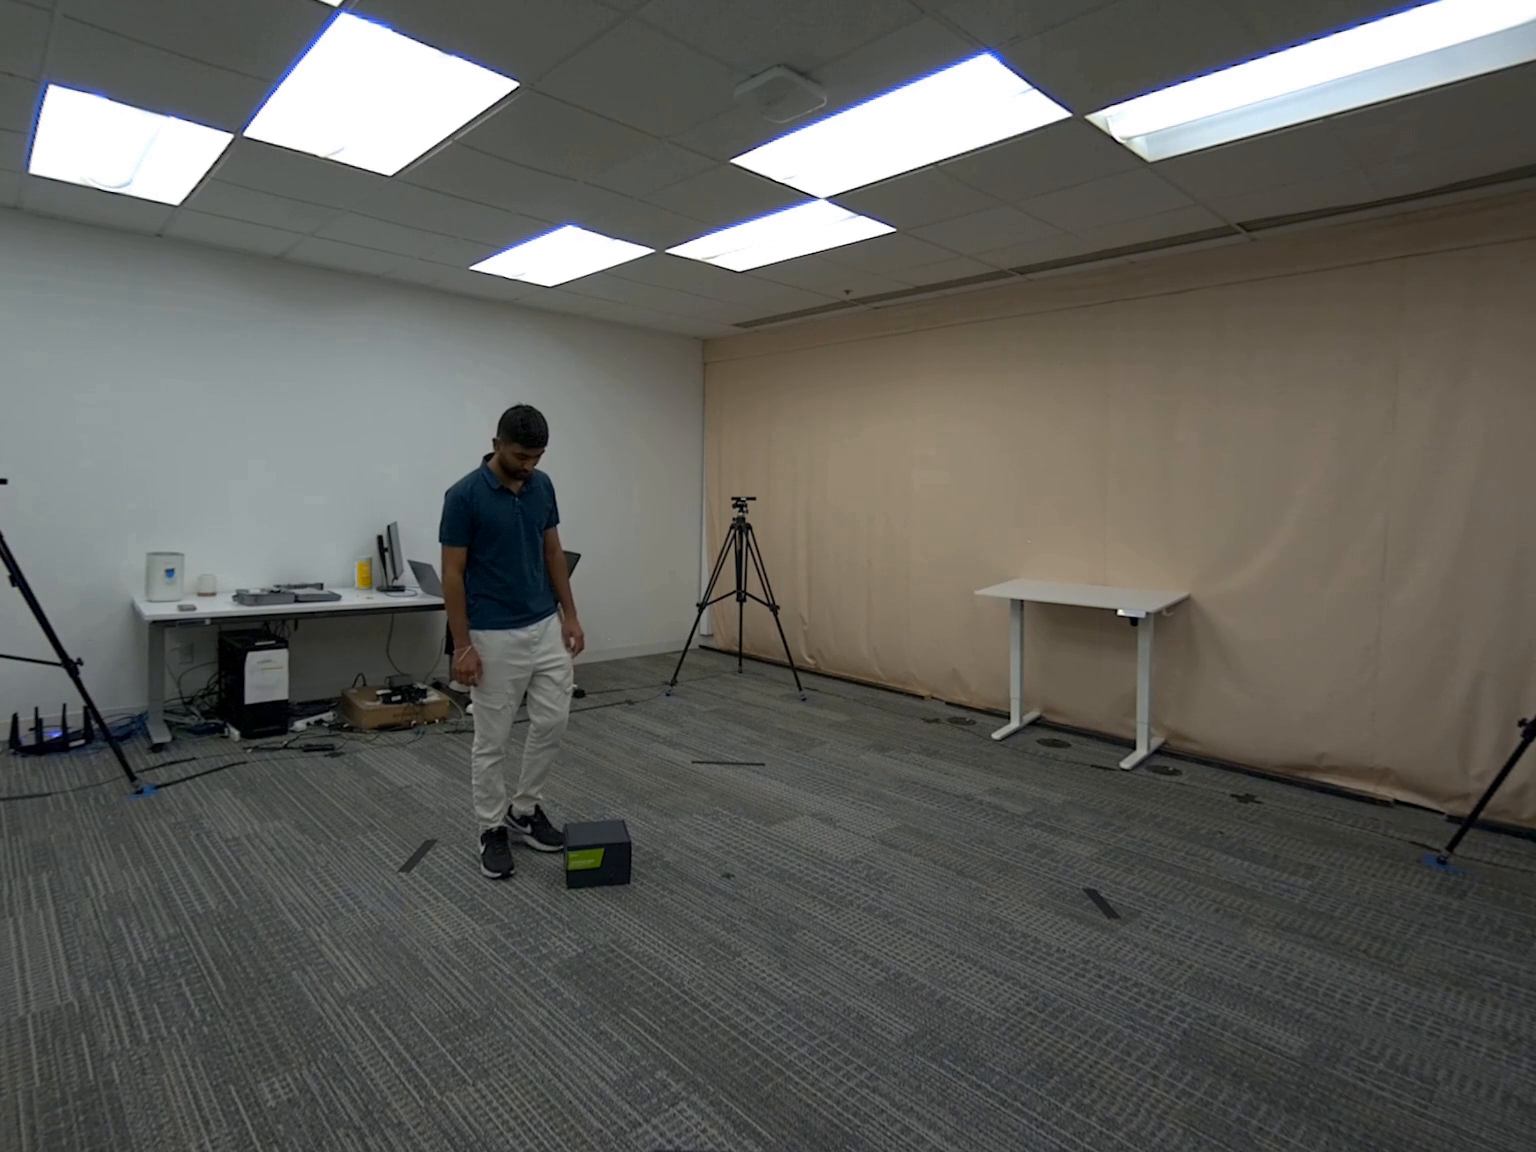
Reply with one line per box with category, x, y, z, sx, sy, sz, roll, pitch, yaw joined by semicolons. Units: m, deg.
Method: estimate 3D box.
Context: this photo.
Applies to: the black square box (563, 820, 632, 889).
black square box;-0.637;1.014;3.089;0.225;0.155;0.220;0;5;-16
